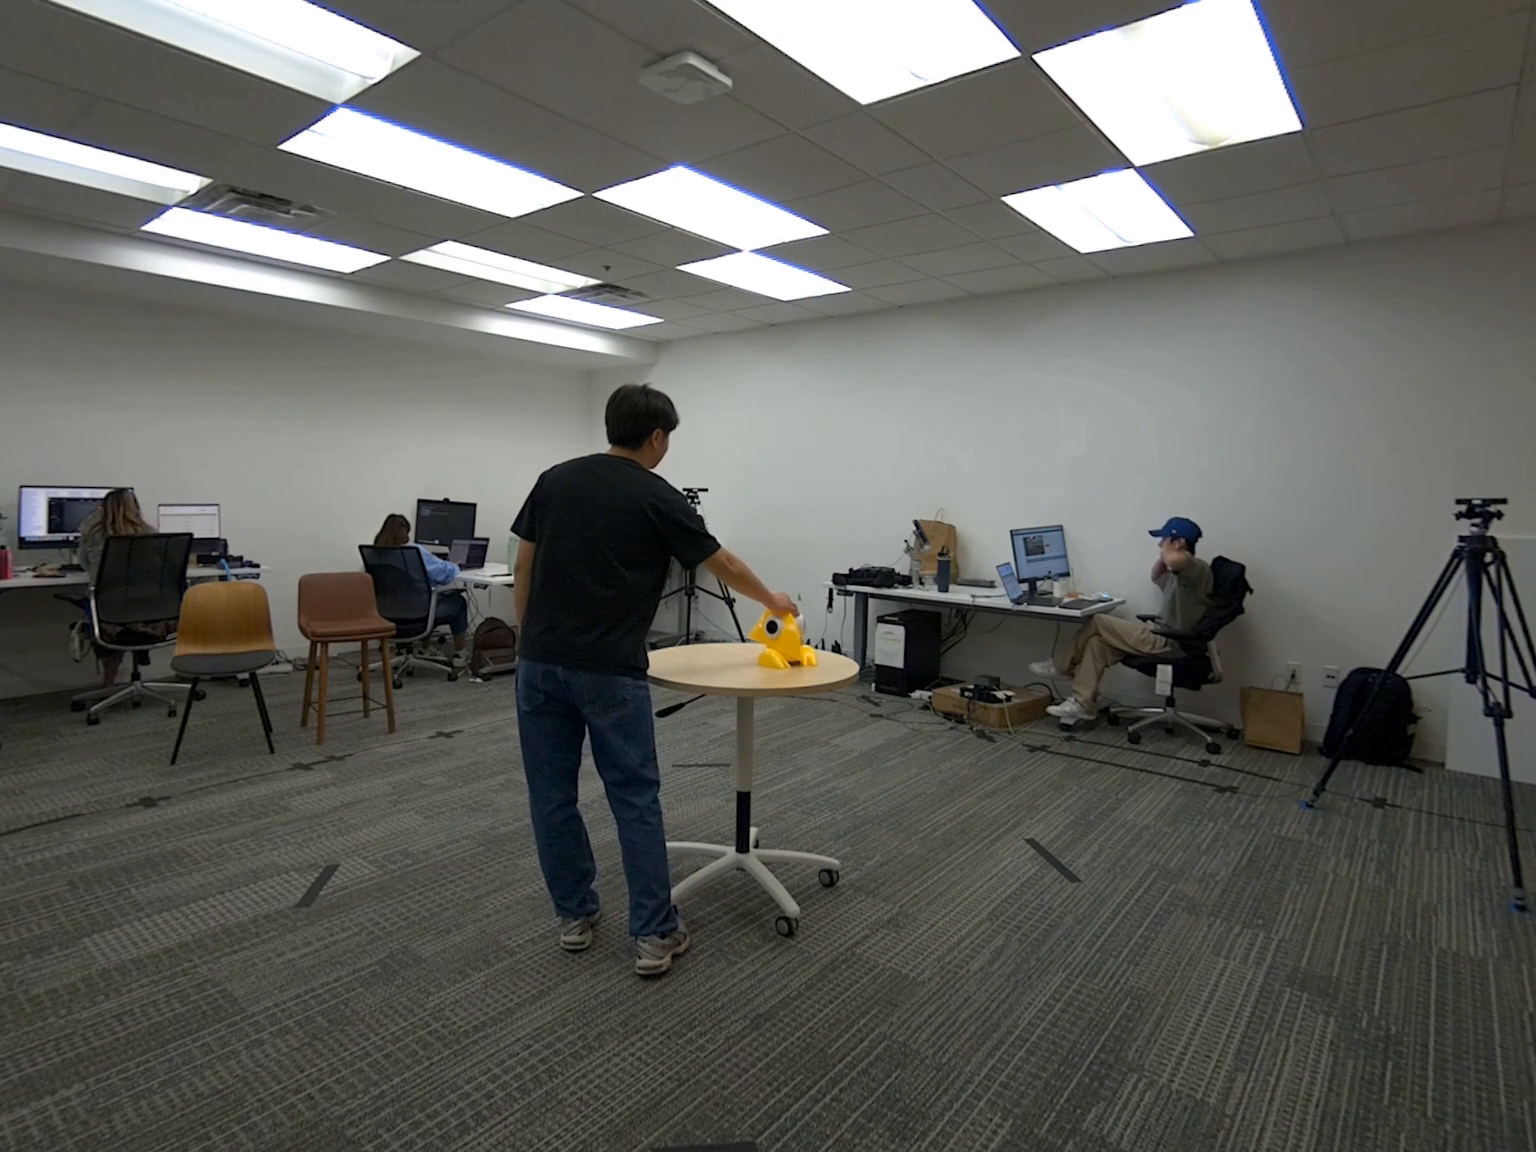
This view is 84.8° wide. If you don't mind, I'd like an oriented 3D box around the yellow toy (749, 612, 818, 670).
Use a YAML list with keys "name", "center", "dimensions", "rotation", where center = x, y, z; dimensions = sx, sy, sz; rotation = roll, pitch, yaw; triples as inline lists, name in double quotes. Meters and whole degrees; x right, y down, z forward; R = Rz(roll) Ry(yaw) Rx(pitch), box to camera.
- name: "yellow toy"
  center: [0.053, 0.182, 2.916]
  dimensions: [0.199, 0.230, 0.199]
  rotation: [0, 4, -29]
